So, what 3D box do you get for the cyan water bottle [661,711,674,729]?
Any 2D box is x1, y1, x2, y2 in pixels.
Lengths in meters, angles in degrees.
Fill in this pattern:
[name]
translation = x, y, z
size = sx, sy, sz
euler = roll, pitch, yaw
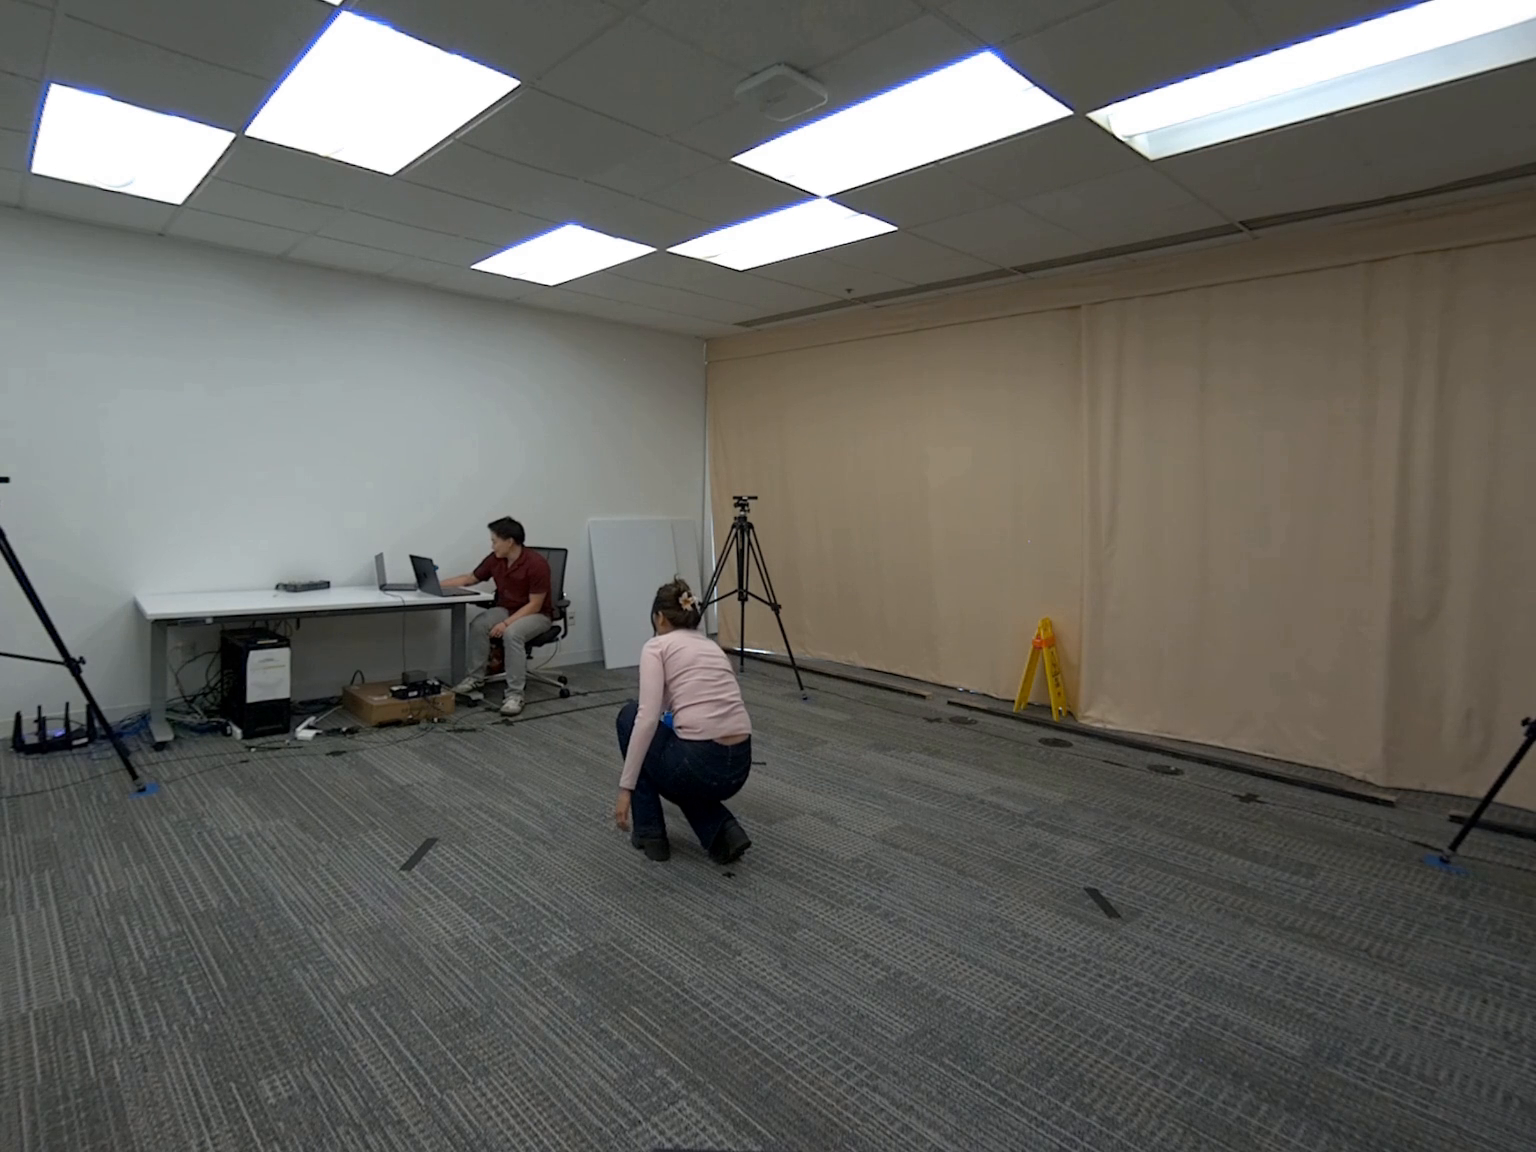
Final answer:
[cyan water bottle]
translation = -0.454, 0.737, 3.790
size = 0.092, 0.284, 0.092
euler = 0, -5, -1
